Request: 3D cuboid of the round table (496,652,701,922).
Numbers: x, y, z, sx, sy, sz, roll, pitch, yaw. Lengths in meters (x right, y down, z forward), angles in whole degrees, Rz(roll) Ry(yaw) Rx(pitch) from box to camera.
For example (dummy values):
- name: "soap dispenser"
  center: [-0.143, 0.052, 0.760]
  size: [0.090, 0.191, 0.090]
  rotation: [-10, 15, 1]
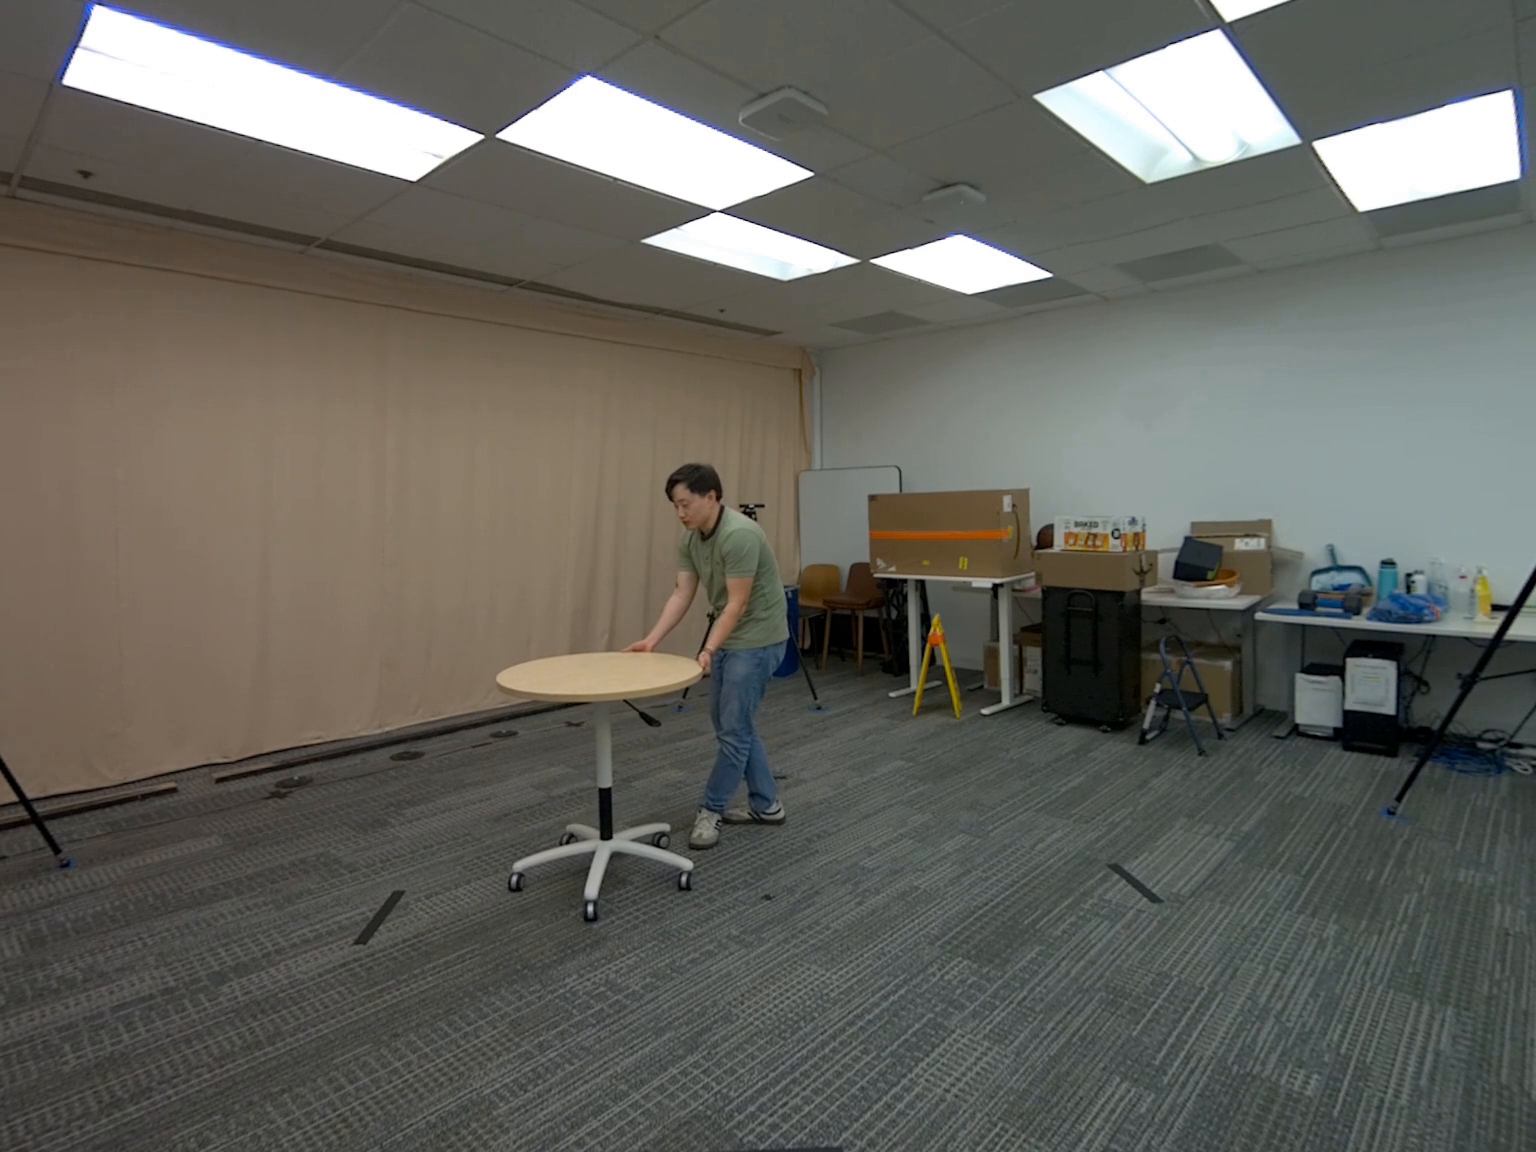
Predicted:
- name: "round table"
  center: [-0.620, 0.748, 3.178]
  size: [0.763, 0.792, 0.766]
  rotation: [-1, 4, -2]
